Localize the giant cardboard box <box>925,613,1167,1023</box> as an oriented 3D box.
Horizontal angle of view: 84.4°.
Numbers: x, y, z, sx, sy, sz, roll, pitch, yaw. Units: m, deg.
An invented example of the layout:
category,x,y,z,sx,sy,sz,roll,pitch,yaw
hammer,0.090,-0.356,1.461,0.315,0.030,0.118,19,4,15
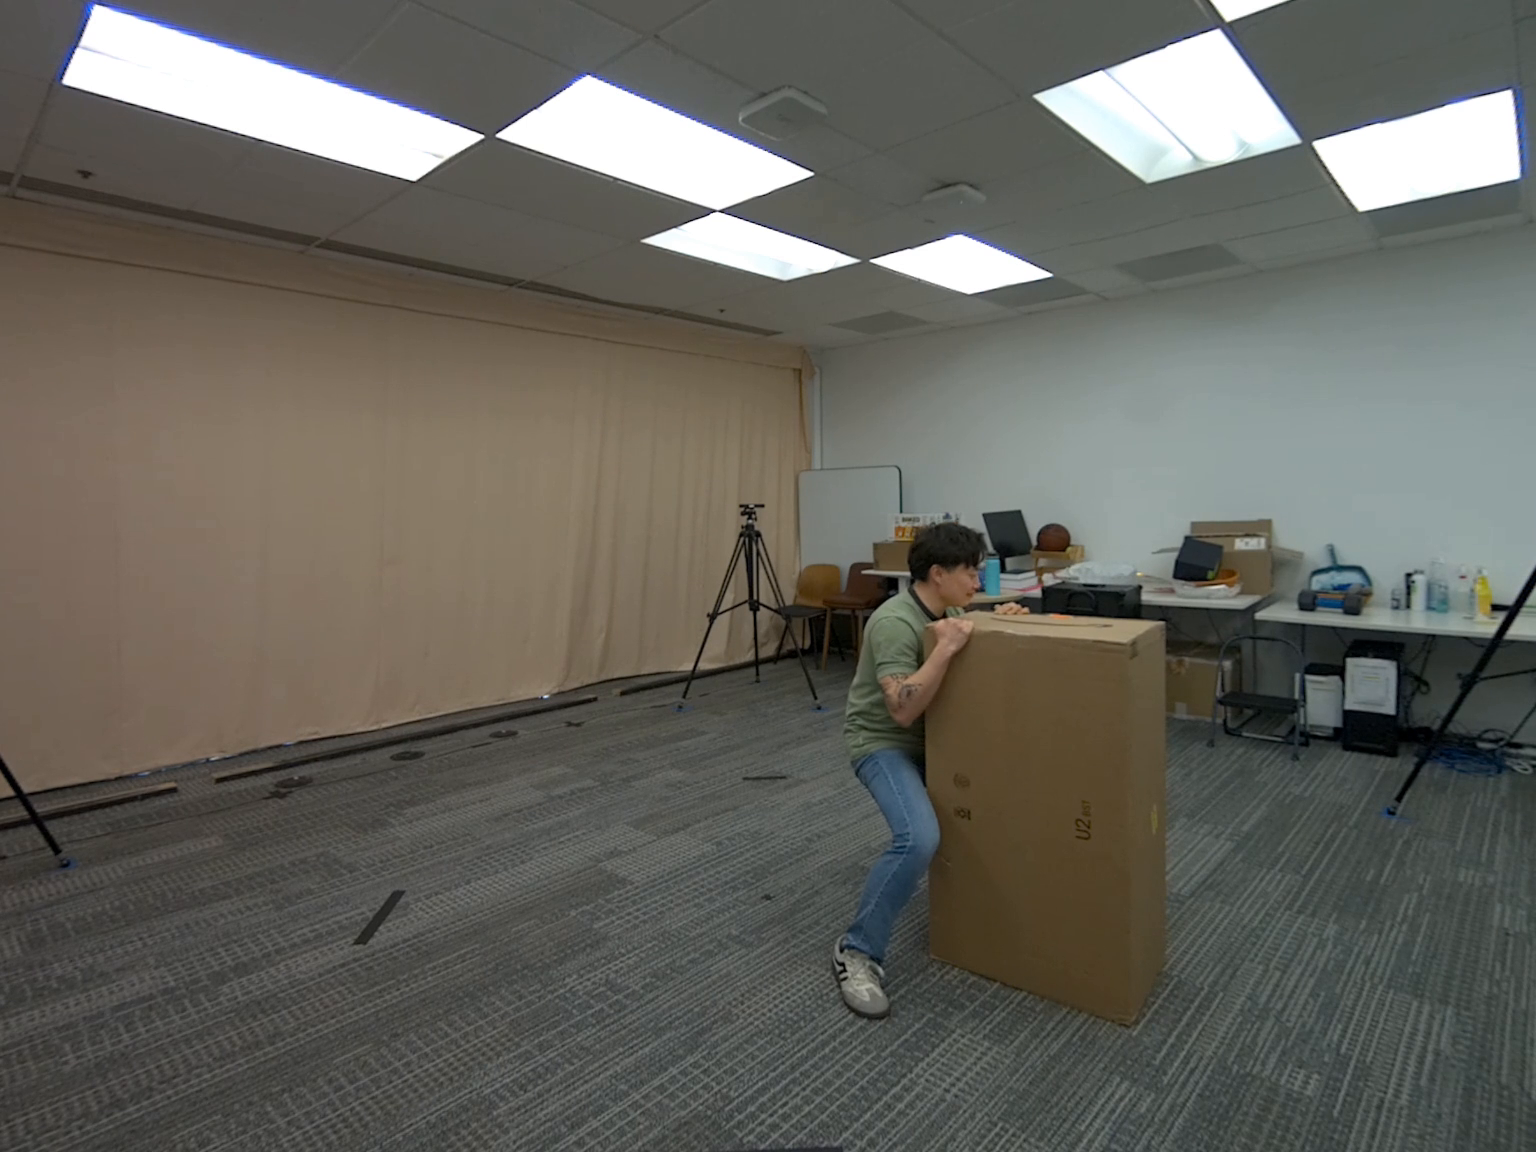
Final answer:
category,x,y,z,sx,sy,sz,roll,pitch,yaw
giant cardboard box,0.846,0.660,2.525,0.596,1.023,0.414,3,5,37
